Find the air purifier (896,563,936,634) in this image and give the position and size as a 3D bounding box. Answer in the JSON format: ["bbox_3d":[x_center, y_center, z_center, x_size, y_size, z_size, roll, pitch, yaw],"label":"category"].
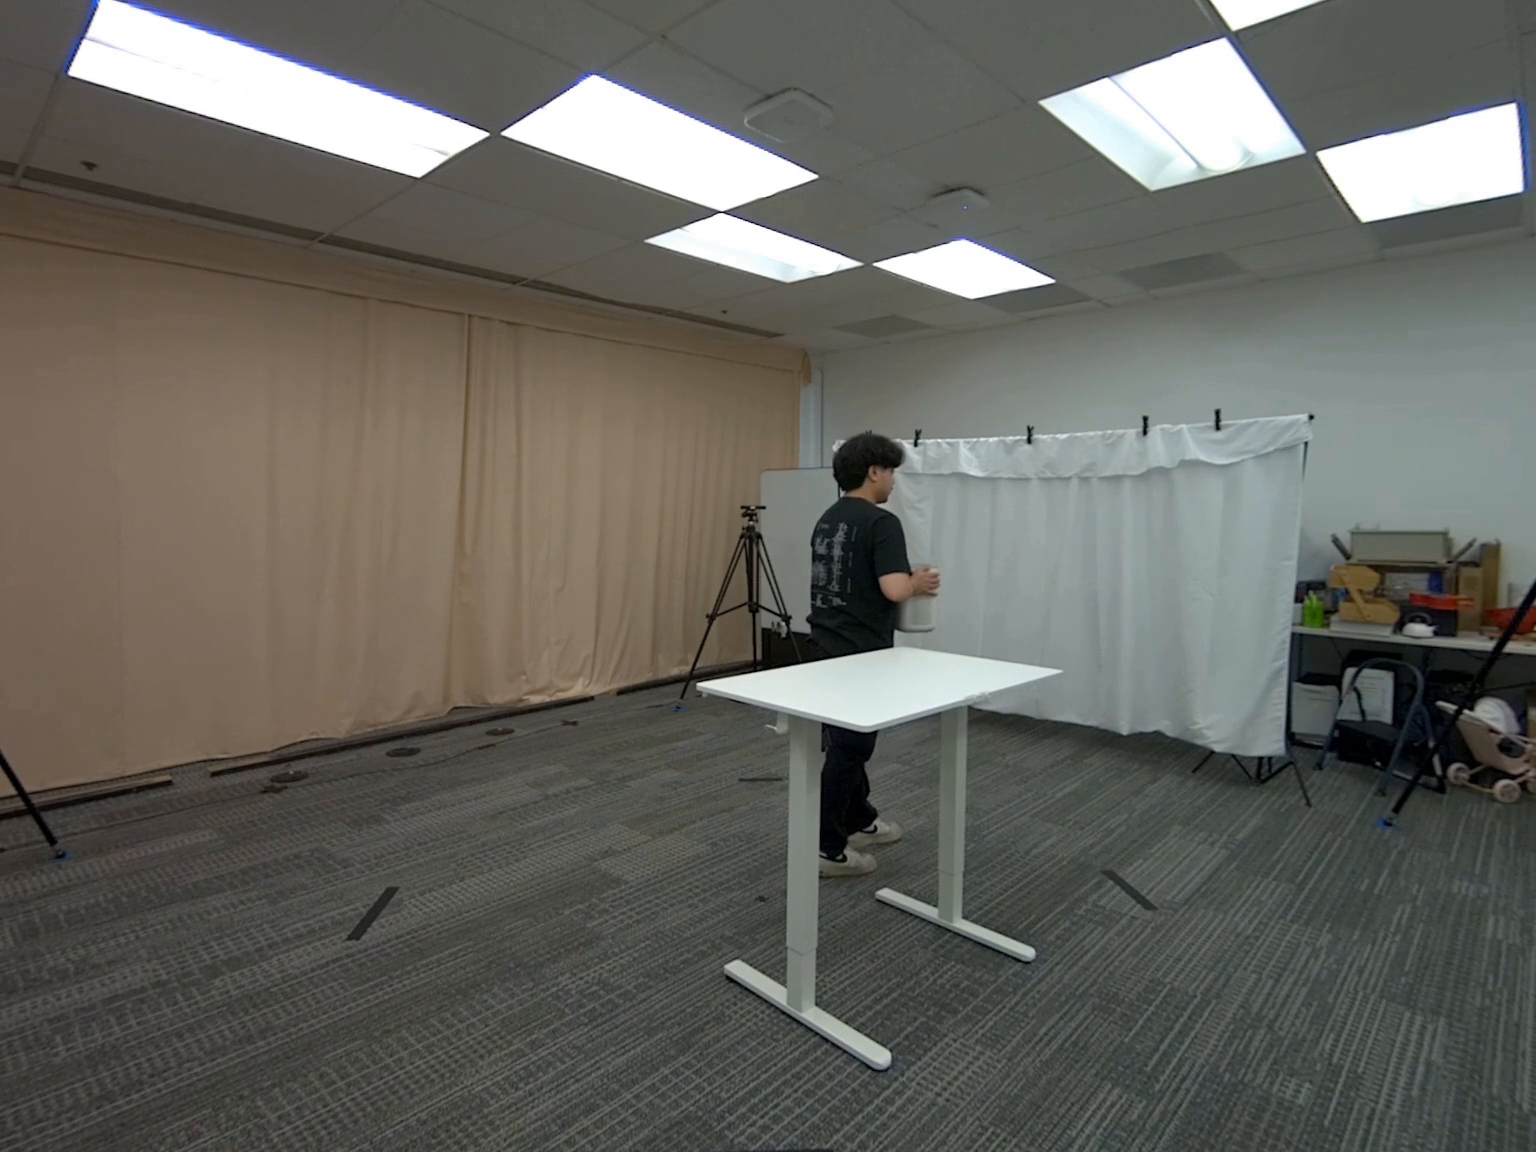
[{"bbox_3d":[0.583,0.088,3.380,0.169,0.265,0.173,1,2,-13],"label":"air purifier"}]
